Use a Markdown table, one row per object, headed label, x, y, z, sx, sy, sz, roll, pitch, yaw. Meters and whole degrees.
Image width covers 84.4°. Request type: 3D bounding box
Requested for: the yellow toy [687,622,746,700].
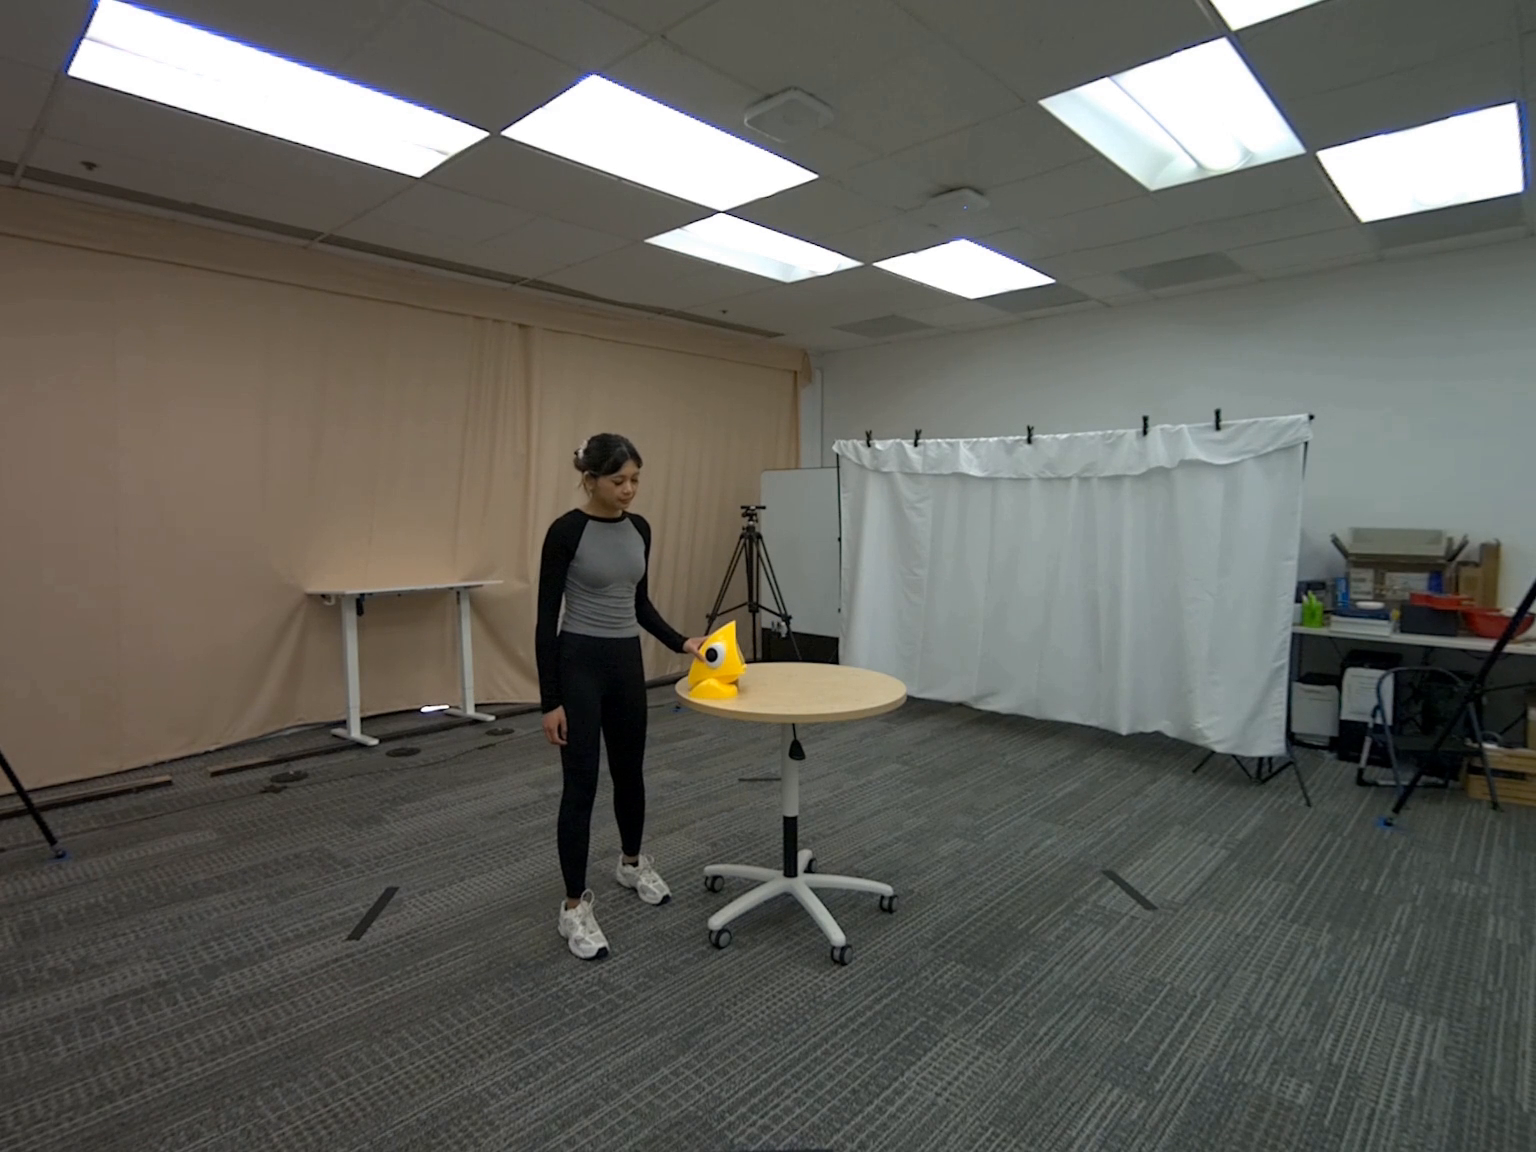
| label | x | y | z | sx | sy | sz | roll | pitch | yaw |
| --- | --- | --- | --- | --- | --- | --- | --- | --- | --- |
| yellow toy | -0.166 | 0.263 | 2.726 | 0.193 | 0.230 | 0.205 | 2 | 4 | 1 |
